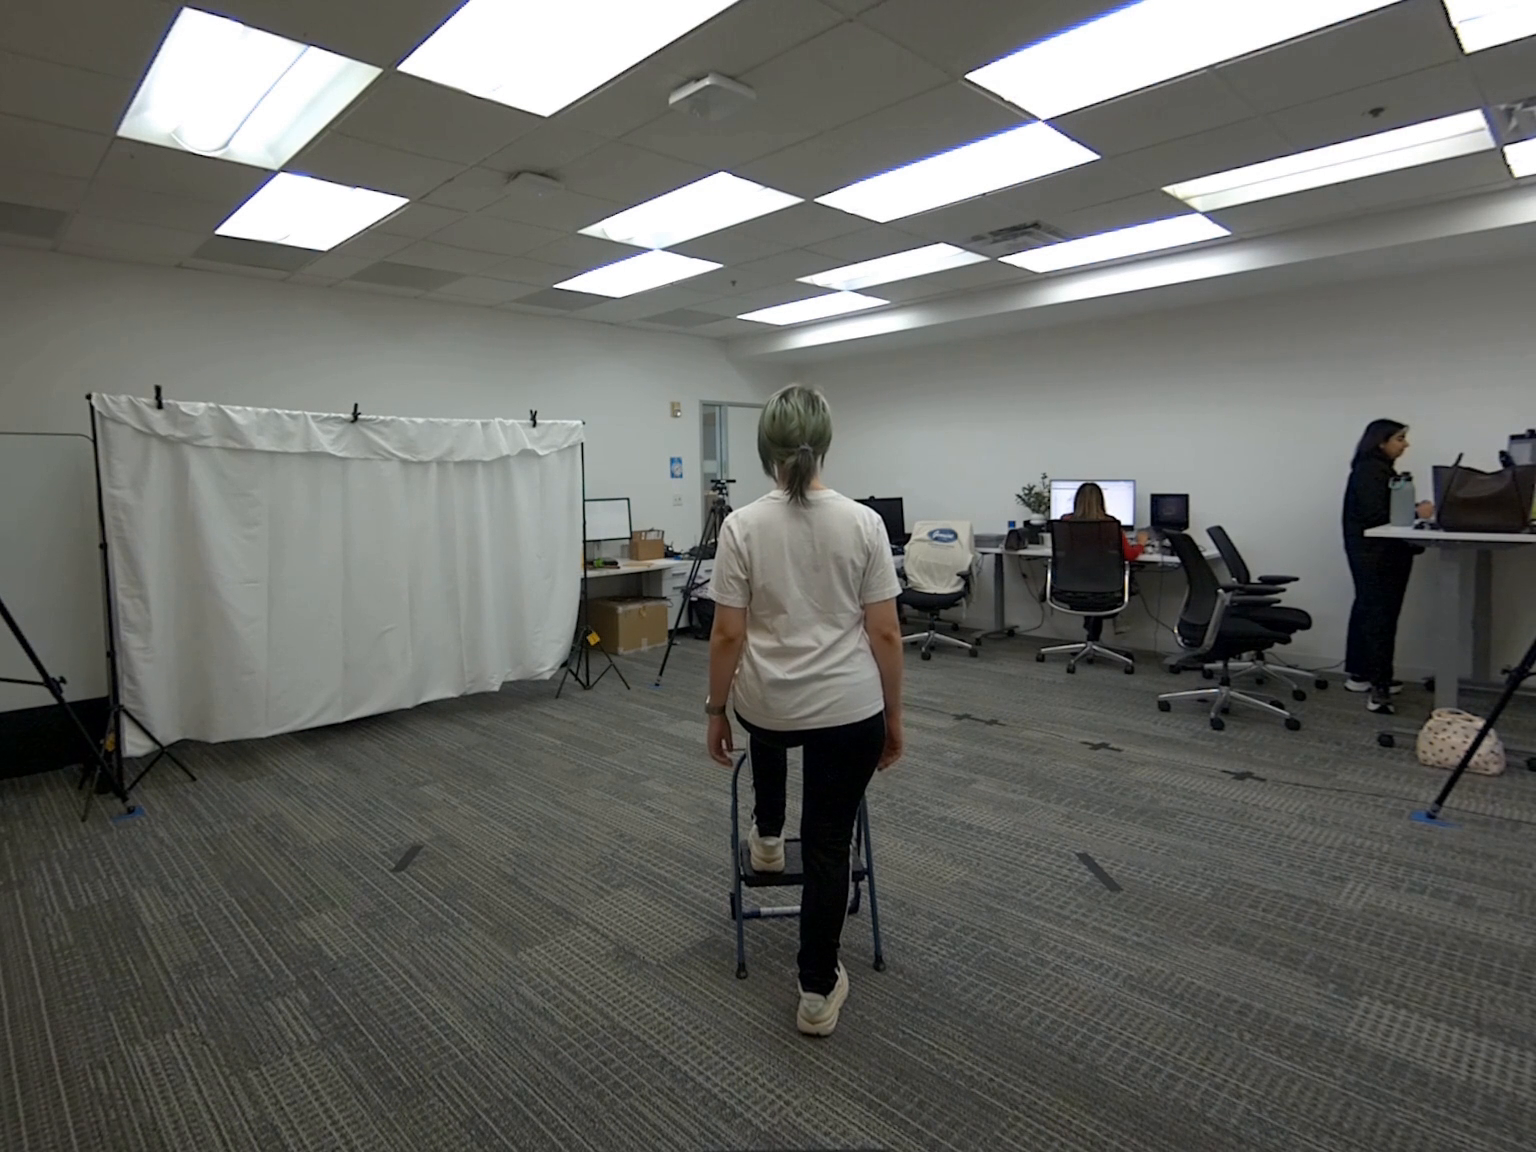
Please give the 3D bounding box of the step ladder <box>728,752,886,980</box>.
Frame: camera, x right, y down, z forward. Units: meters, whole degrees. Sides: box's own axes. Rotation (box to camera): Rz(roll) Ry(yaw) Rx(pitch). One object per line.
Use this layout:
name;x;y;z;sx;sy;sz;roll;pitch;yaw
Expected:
step ladder;0.106;0.812;2.565;0.429;0.604;0.352;-1;5;-5
